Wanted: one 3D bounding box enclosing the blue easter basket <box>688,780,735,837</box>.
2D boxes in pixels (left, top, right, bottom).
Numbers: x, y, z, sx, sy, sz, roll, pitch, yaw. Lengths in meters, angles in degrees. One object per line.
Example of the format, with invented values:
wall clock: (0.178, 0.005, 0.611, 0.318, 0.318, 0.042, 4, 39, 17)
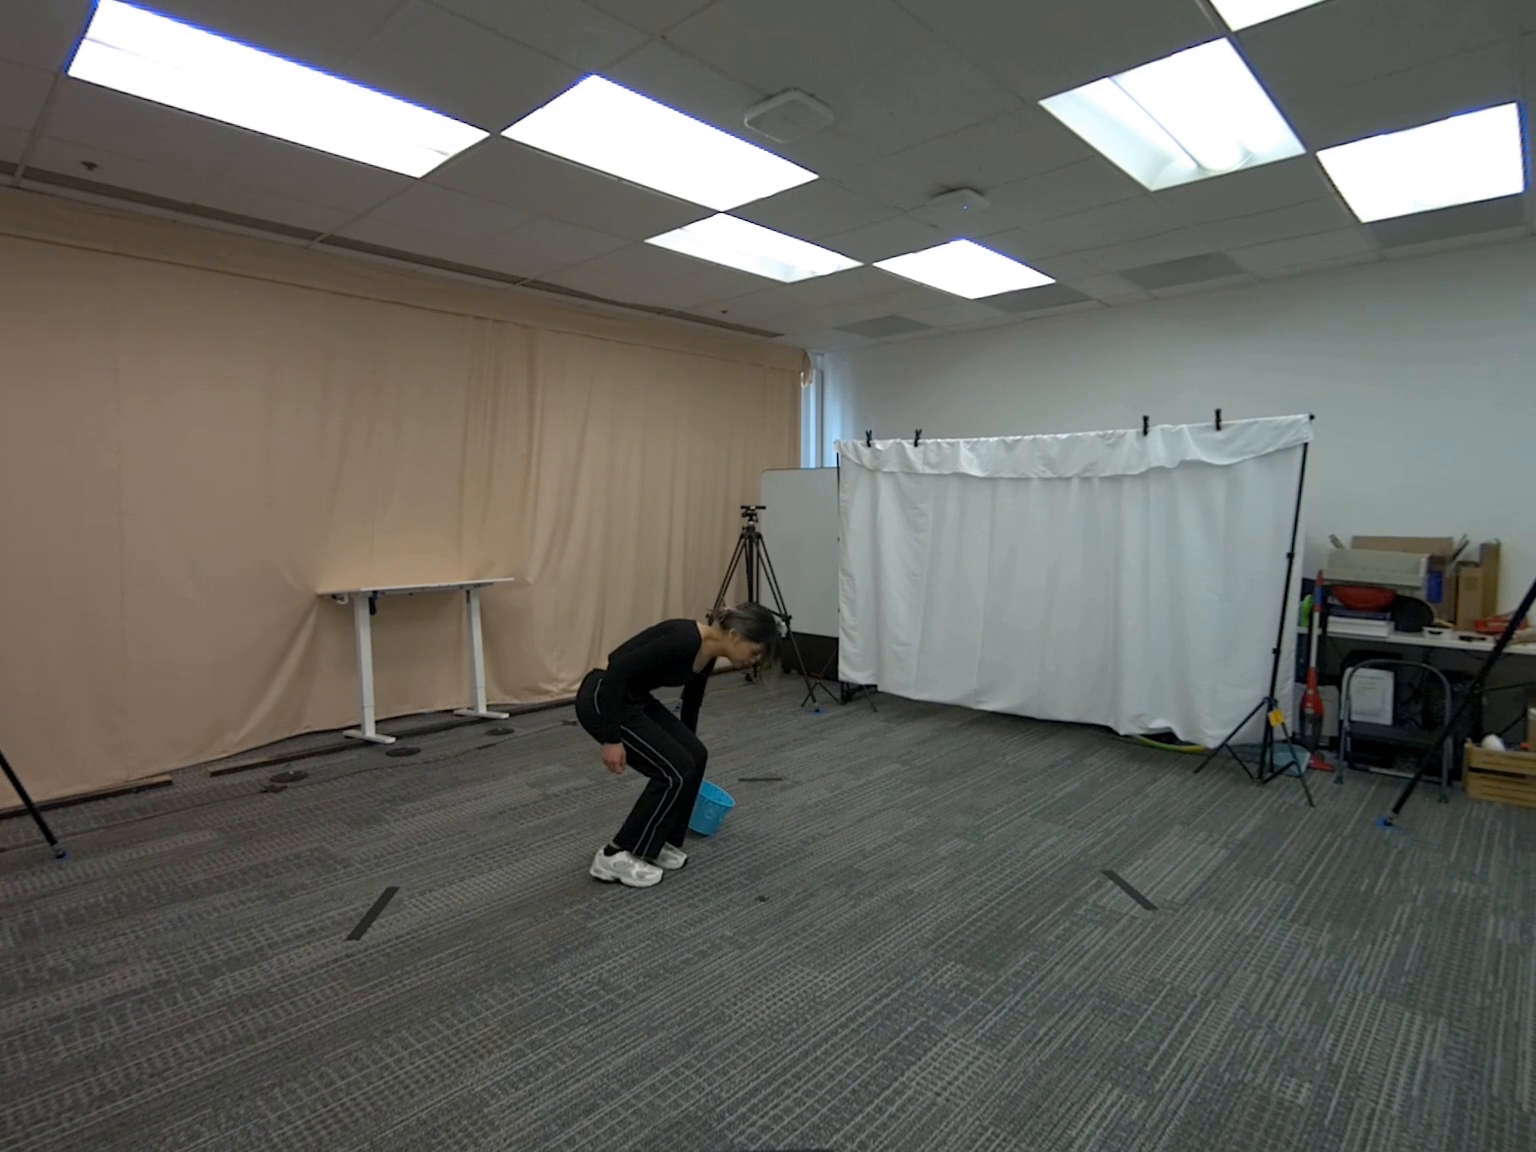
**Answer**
blue easter basket: (-0.276, 0.992, 3.601, 0.243, 0.156, 0.244, 26, 2, -3)
